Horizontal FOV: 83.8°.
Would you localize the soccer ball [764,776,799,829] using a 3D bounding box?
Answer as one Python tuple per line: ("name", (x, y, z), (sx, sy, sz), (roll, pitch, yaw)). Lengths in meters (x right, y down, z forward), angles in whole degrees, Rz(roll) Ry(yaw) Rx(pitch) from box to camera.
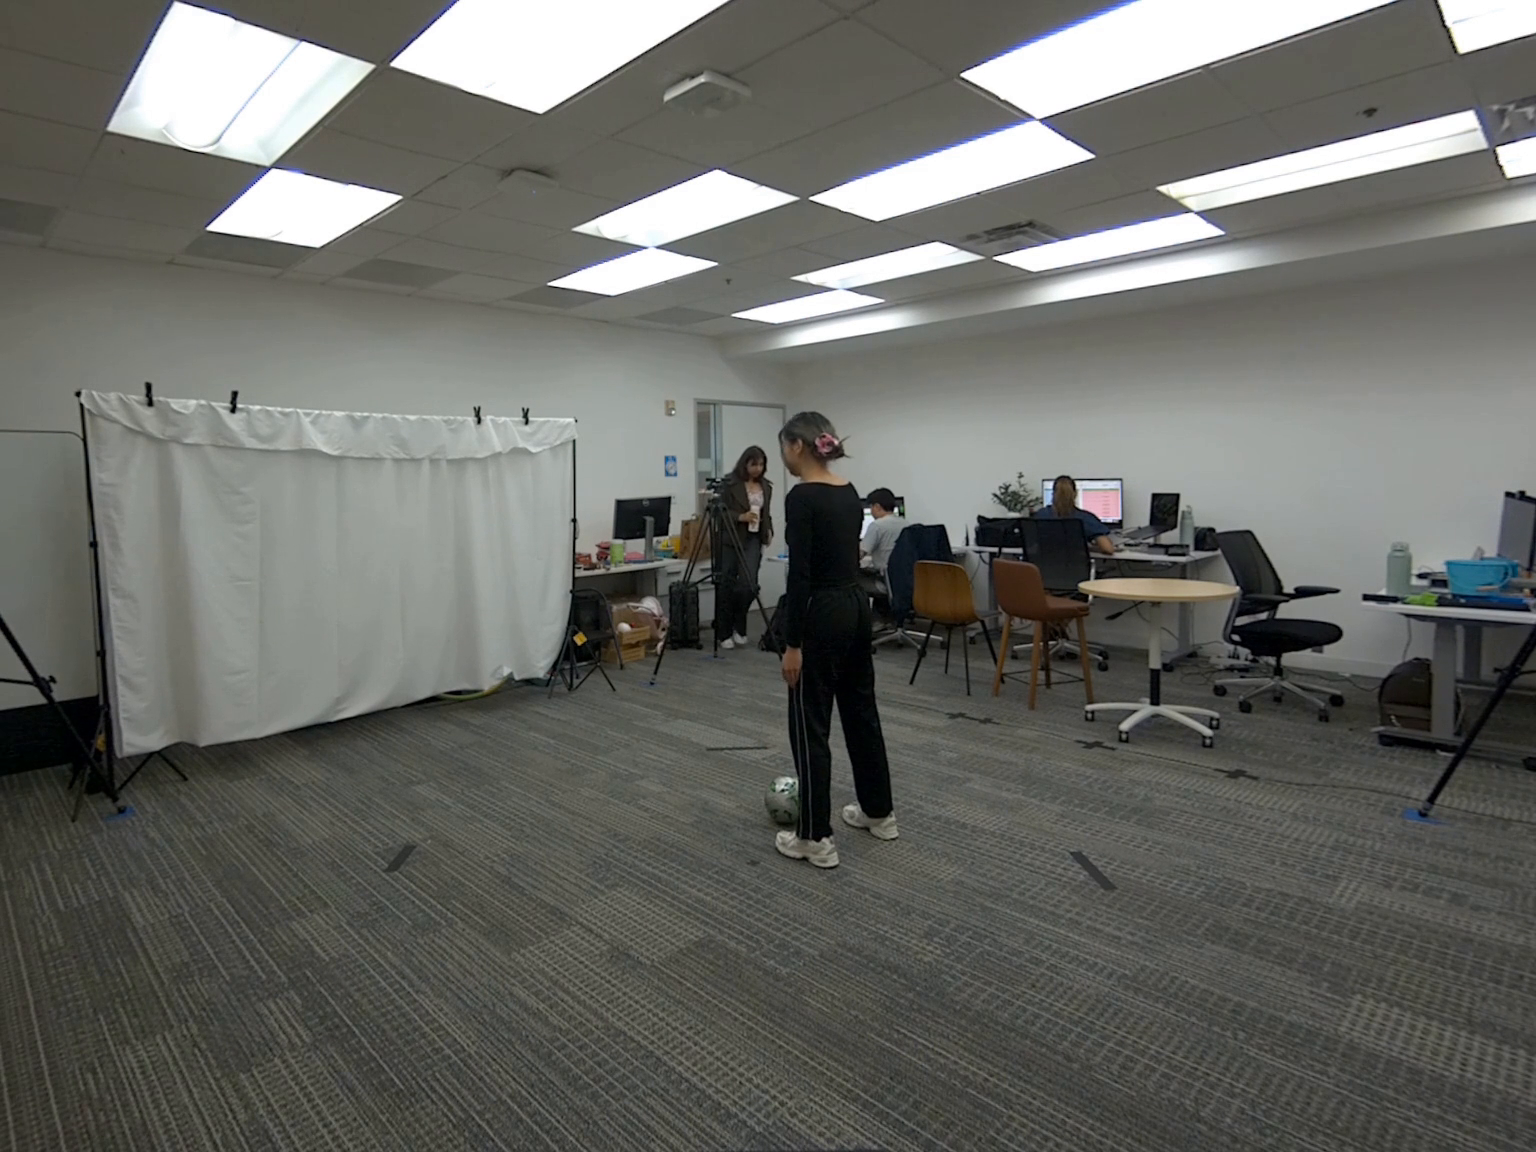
("soccer ball", (0.080, 0.905, 3.469), (0.187, 0.187, 0.188), (-1, 5, -2))
